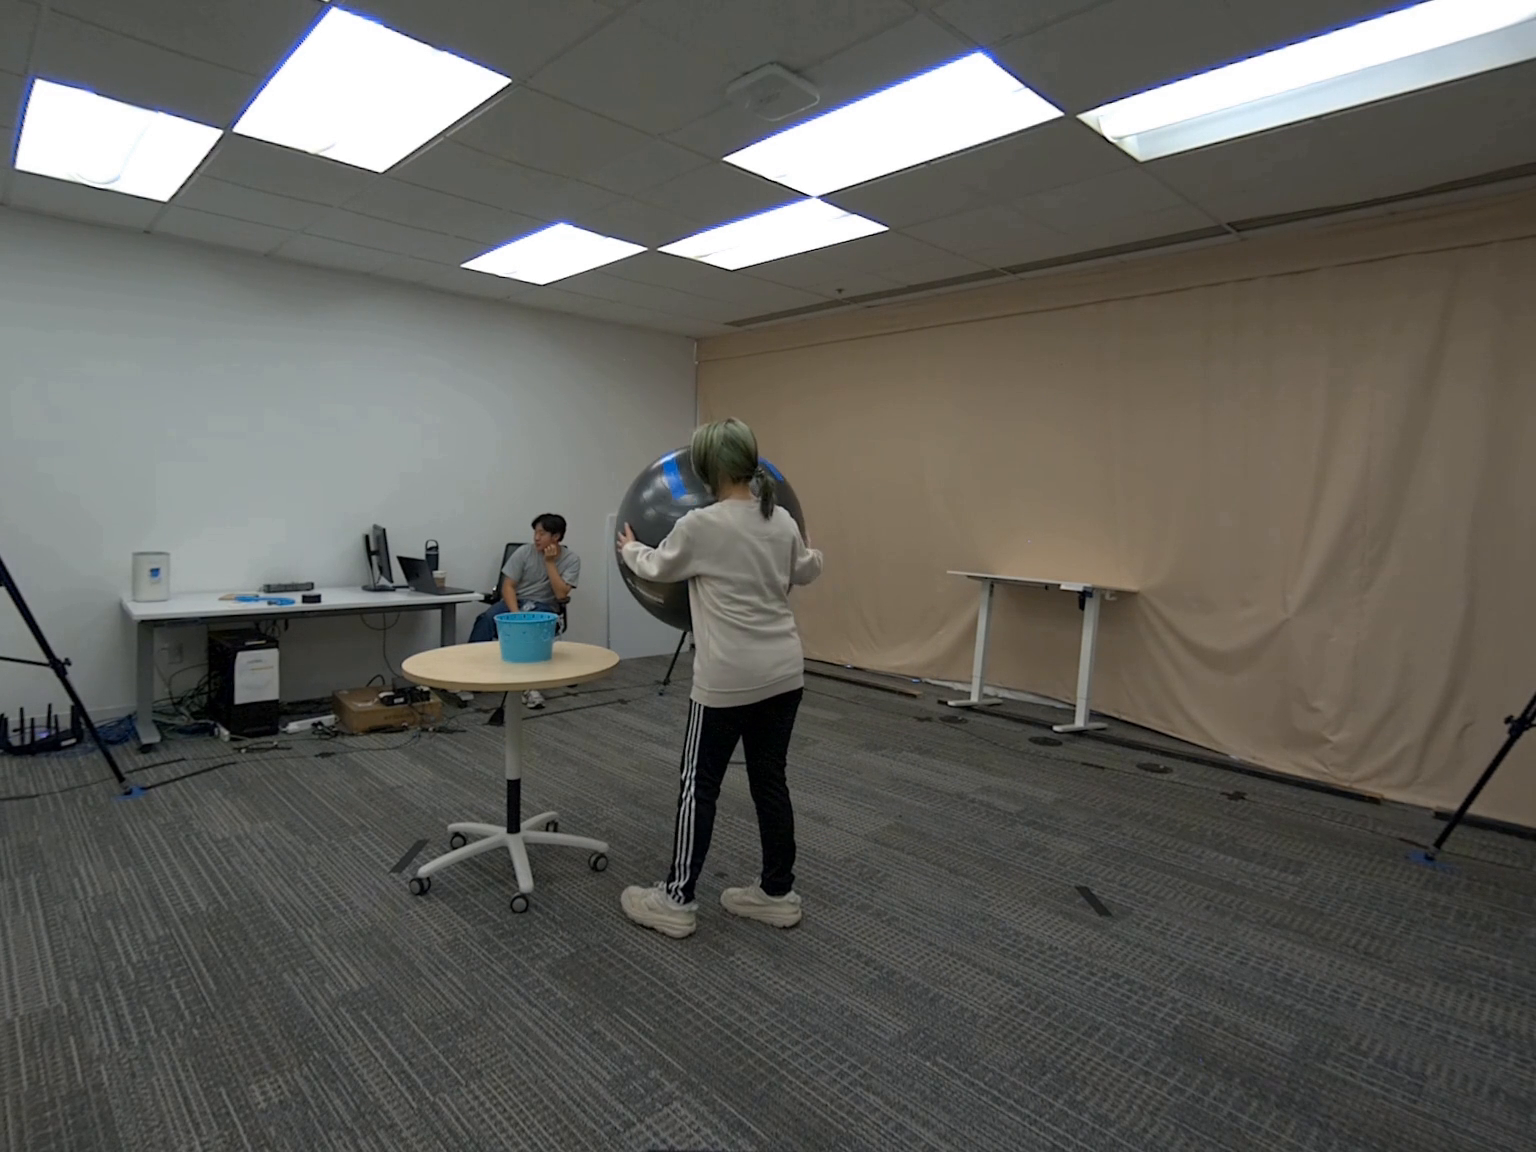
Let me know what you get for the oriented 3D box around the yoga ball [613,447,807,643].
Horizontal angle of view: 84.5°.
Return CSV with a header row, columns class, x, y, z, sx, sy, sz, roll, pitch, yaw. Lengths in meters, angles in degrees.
class,x,y,z,sx,sy,sz,roll,pitch,yaw
yoga ball,-0.240,-0.139,3.345,0.757,0.756,0.761,1,4,-1
